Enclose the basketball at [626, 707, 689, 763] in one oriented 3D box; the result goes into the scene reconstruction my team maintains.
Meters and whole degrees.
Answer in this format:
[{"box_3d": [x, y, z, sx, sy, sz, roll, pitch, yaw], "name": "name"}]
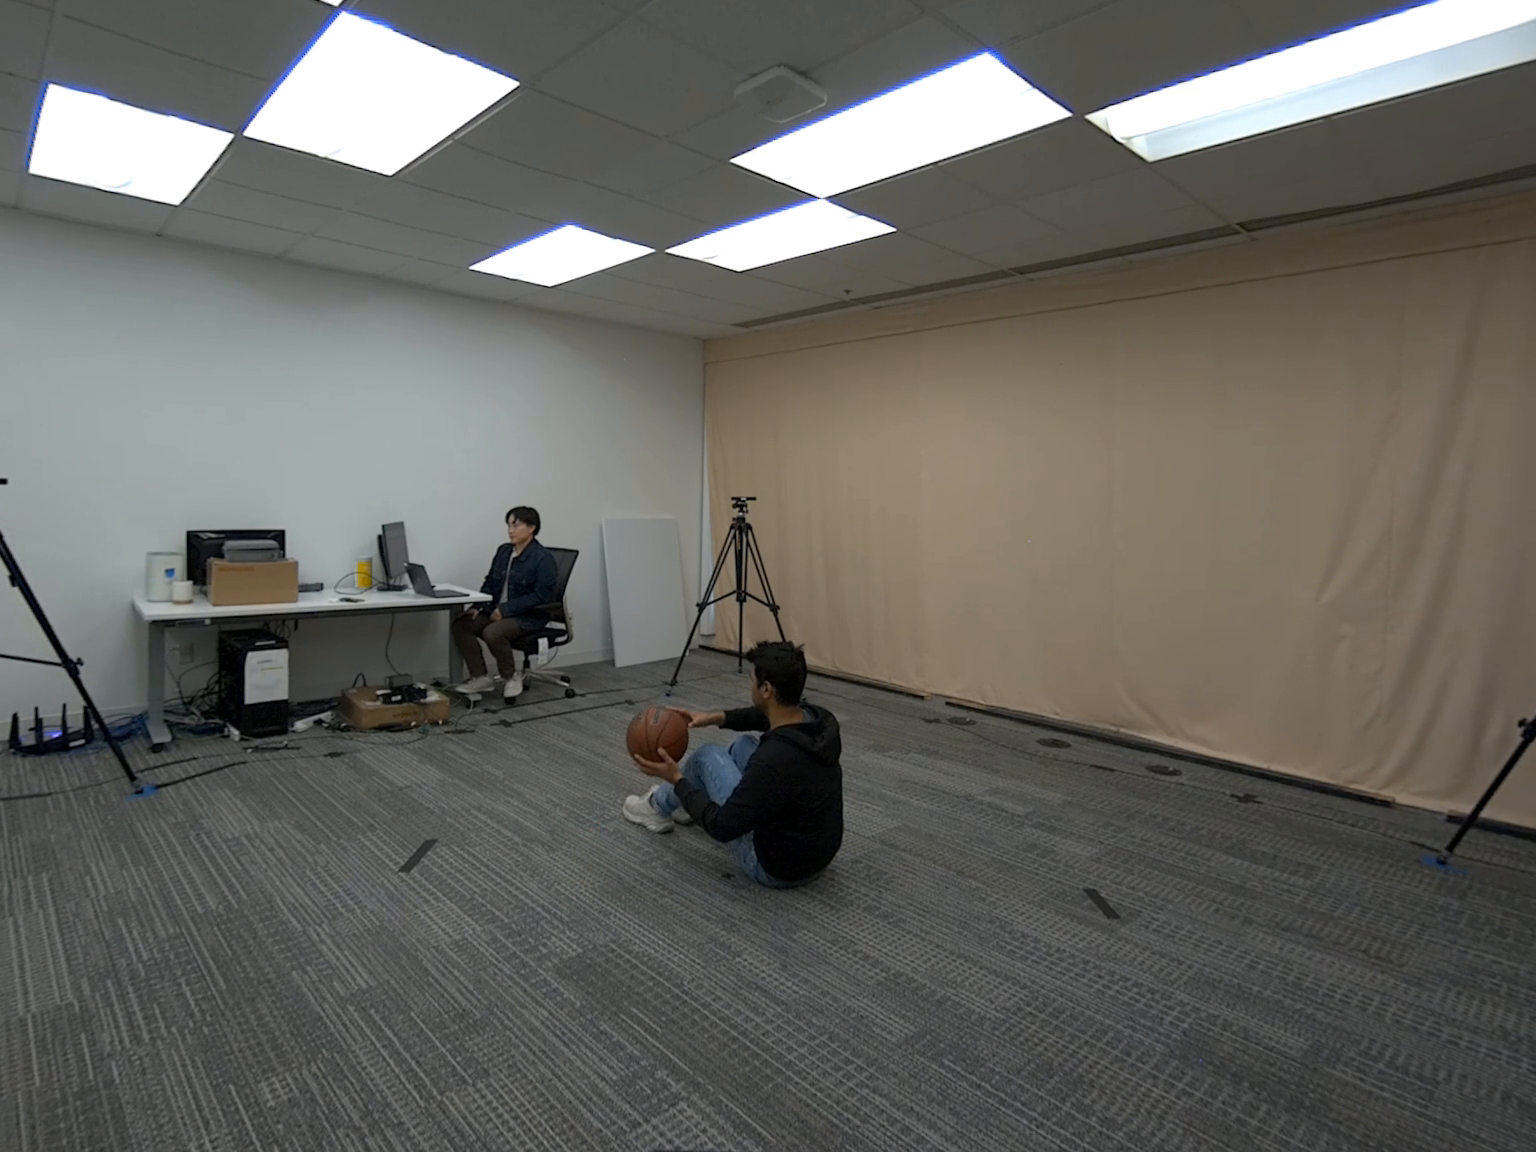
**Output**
[{"box_3d": [-0.414, 0.620, 3.193, 0.236, 0.235, 0.237, 1, 4, -1], "name": "basketball"}]
